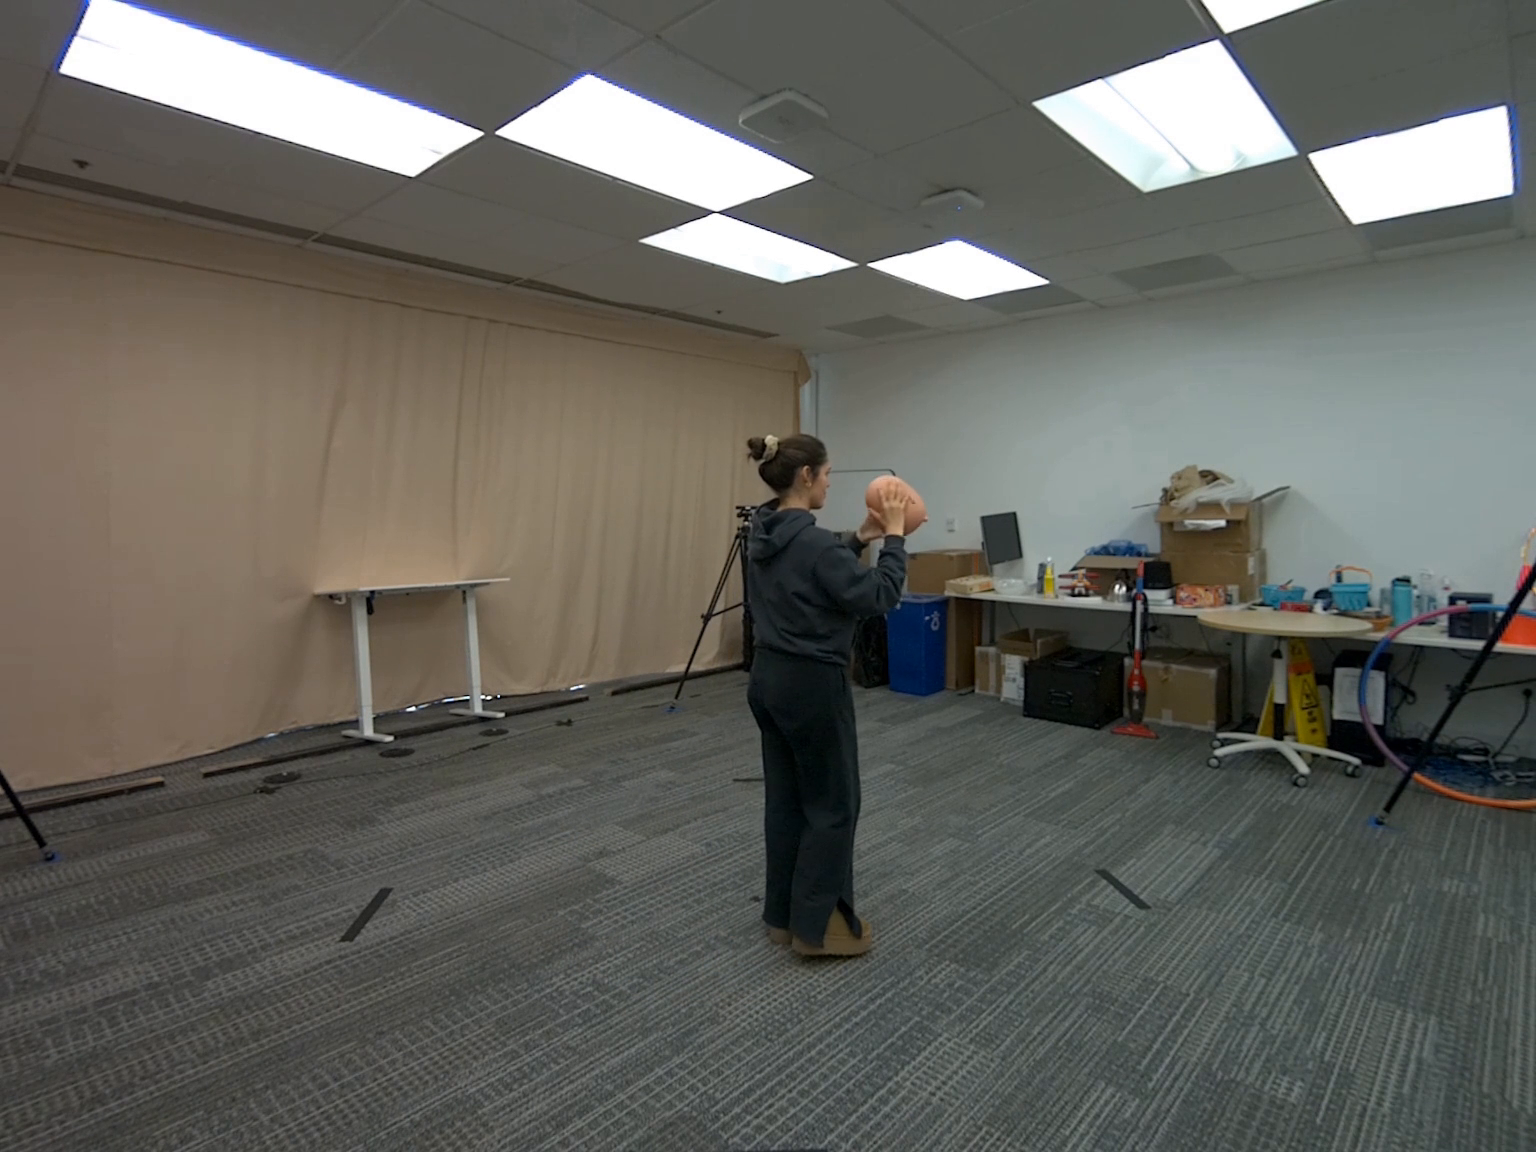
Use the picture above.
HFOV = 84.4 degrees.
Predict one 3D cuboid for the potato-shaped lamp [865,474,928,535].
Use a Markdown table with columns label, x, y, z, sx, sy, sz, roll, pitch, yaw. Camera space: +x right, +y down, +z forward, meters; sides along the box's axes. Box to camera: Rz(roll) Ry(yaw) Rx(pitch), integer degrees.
| label | x | y | z | sx | sy | sz | roll | pitch | yaw |
| --- | --- | --- | --- | --- | --- | --- | --- | --- | --- |
| potato-shaped lamp | 0.411 | -0.233 | 2.695 | 0.166 | 0.175 | 0.191 | -35 | -52 | 20 |
